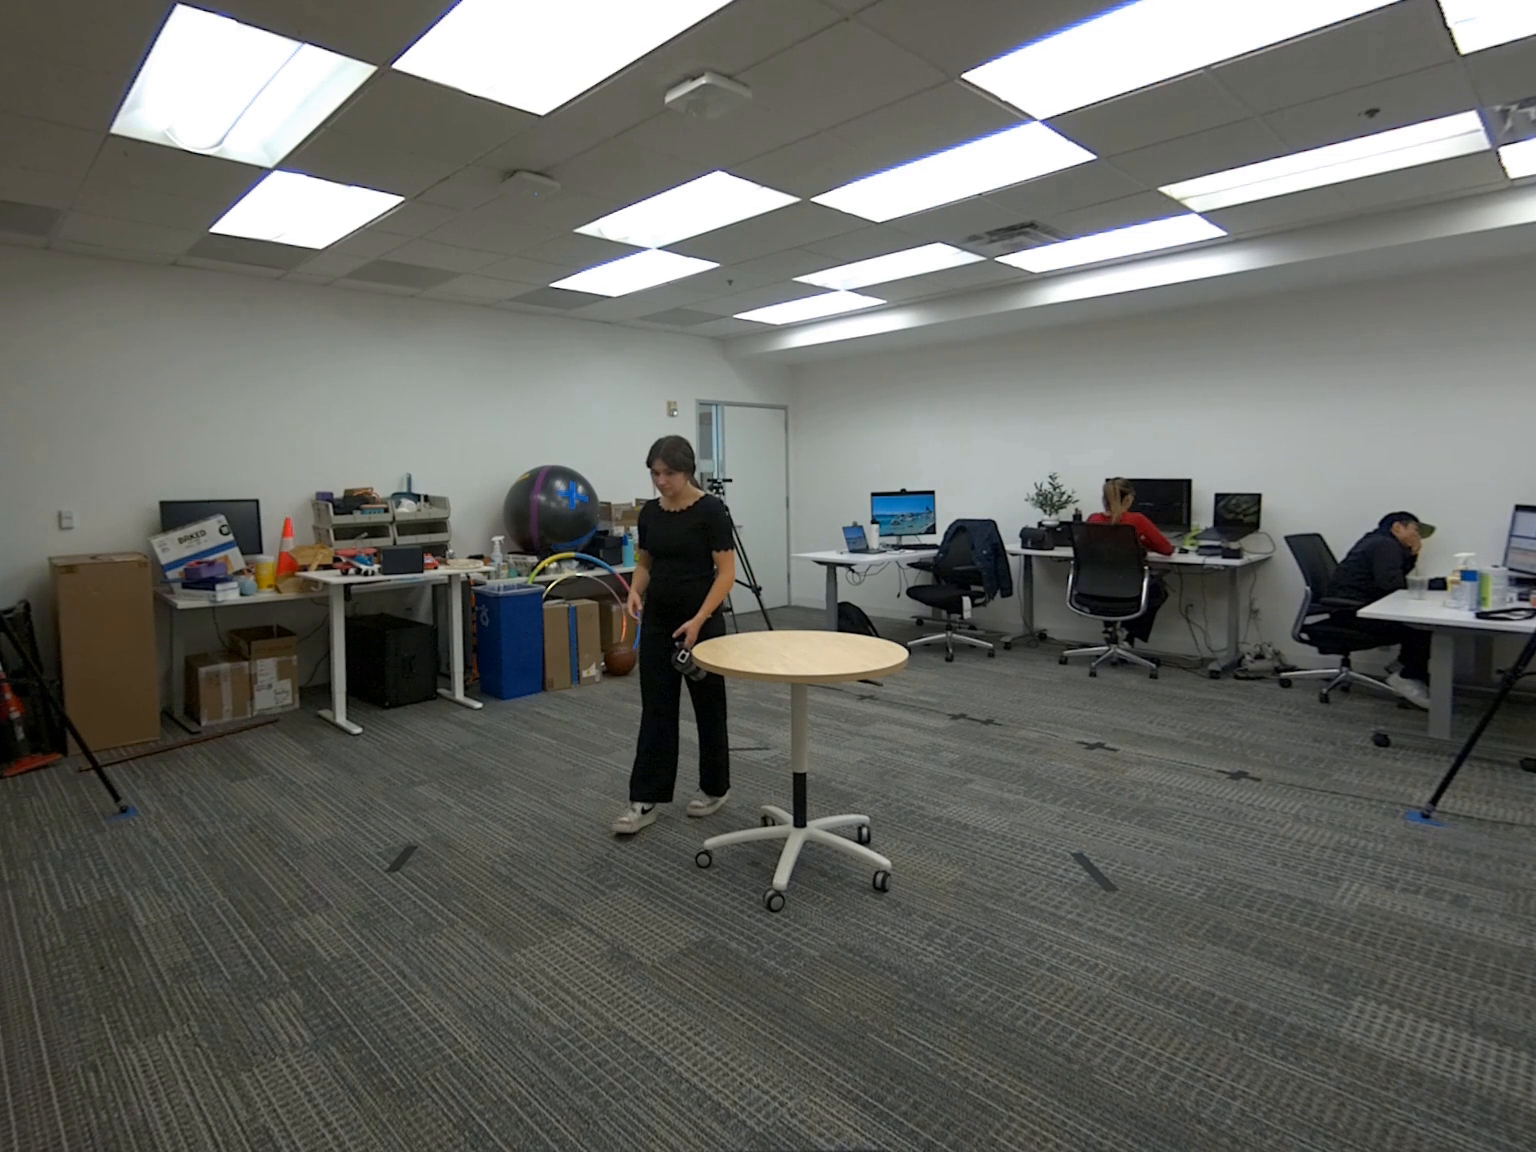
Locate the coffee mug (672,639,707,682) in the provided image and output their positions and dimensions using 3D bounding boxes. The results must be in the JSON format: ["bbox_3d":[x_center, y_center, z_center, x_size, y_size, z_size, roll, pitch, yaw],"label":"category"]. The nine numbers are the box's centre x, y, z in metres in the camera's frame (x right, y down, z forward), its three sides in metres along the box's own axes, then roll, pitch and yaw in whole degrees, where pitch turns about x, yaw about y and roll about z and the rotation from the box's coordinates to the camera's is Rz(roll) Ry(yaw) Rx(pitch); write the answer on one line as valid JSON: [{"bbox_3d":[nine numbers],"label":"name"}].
[{"bbox_3d":[-0.315,0.331,3.352,0.089,0.124,0.196,-11,-24,13],"label":"coffee mug"}]
